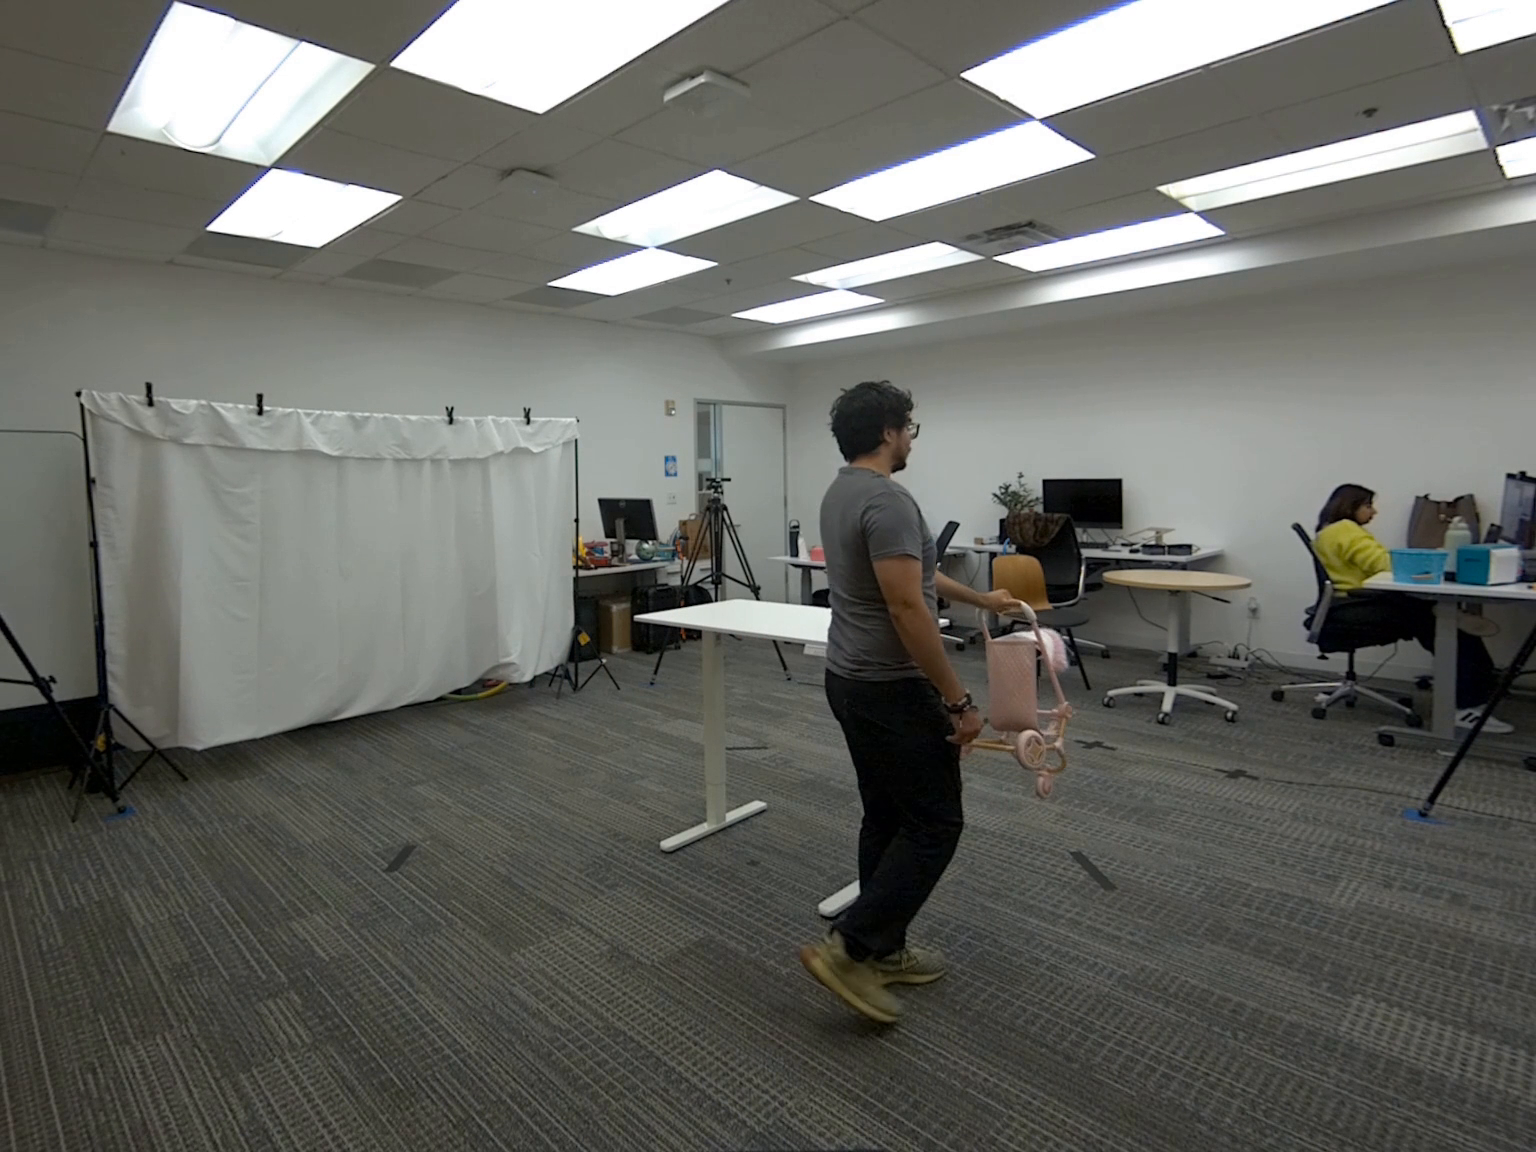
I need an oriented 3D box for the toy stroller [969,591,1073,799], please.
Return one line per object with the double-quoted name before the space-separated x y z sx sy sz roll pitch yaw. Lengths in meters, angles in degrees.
"toy stroller" 0.780 0.379 2.581 0.332 0.541 0.286 19 -18 -27
